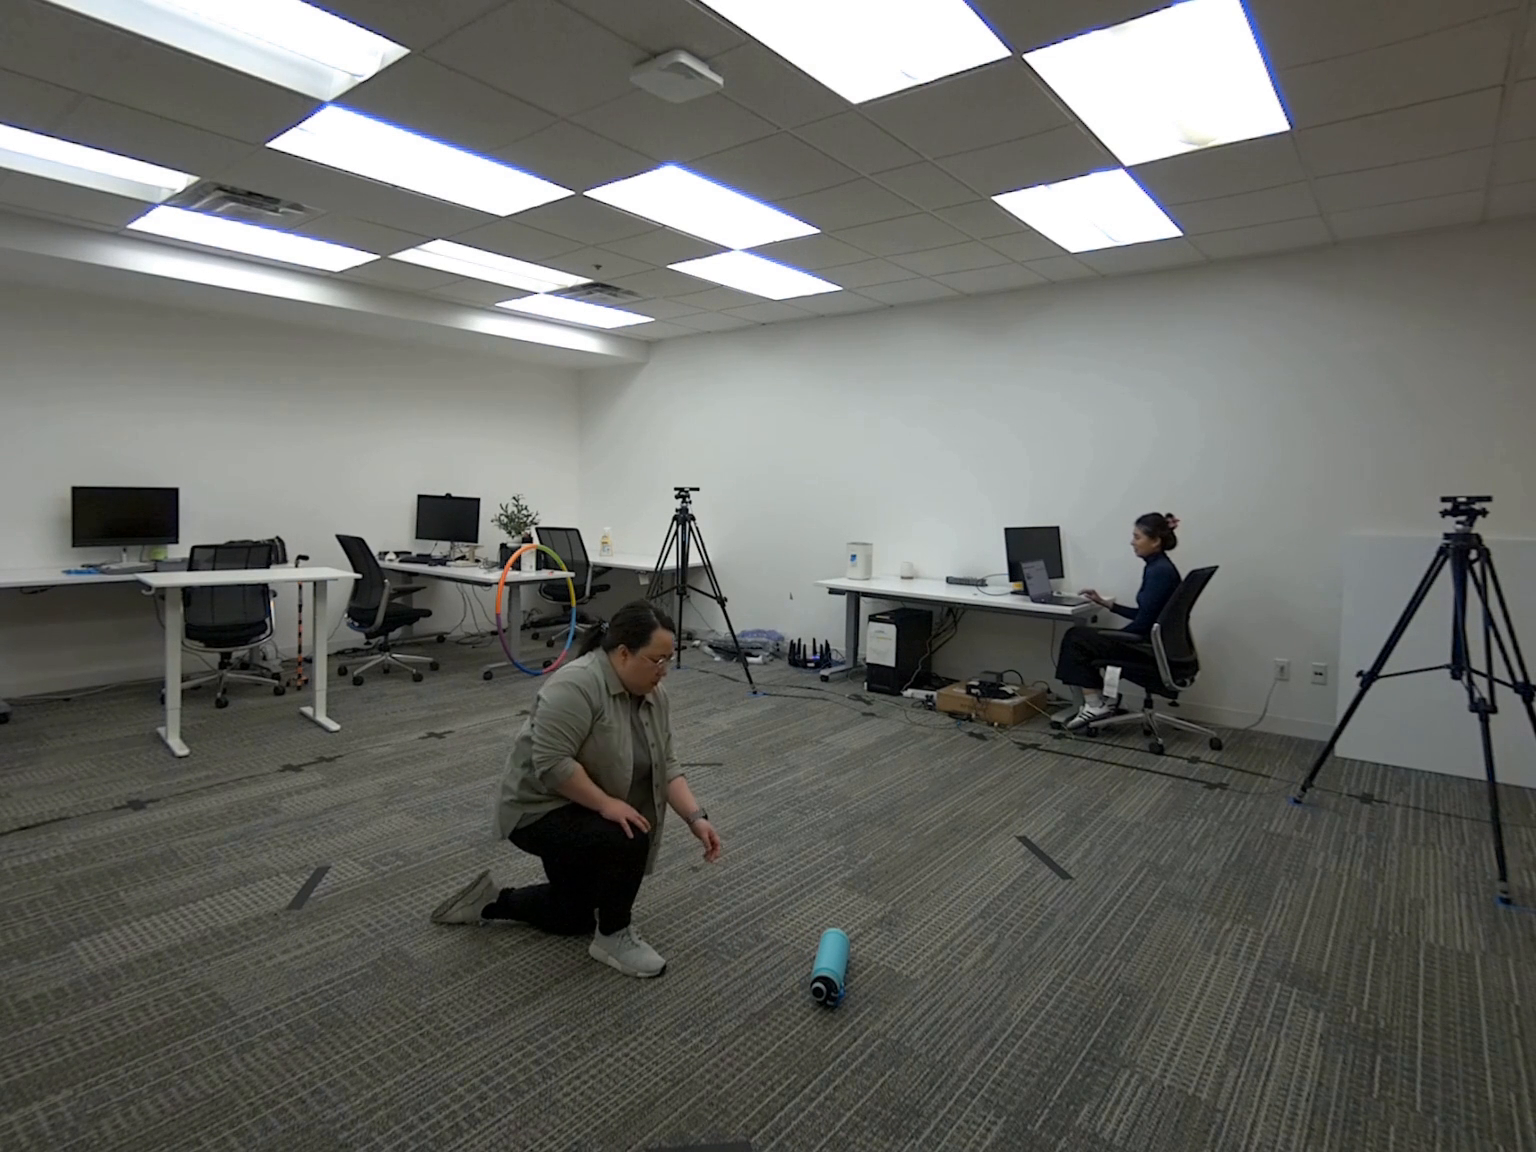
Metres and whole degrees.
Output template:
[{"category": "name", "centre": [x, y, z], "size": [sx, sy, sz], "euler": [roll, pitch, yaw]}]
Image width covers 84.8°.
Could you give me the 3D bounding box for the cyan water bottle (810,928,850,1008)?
[{"category": "cyan water bottle", "centre": [0.172, 1.102, 2.393], "size": [0.093, 0.092, 0.281], "euler": [2, 6, 10]}]
